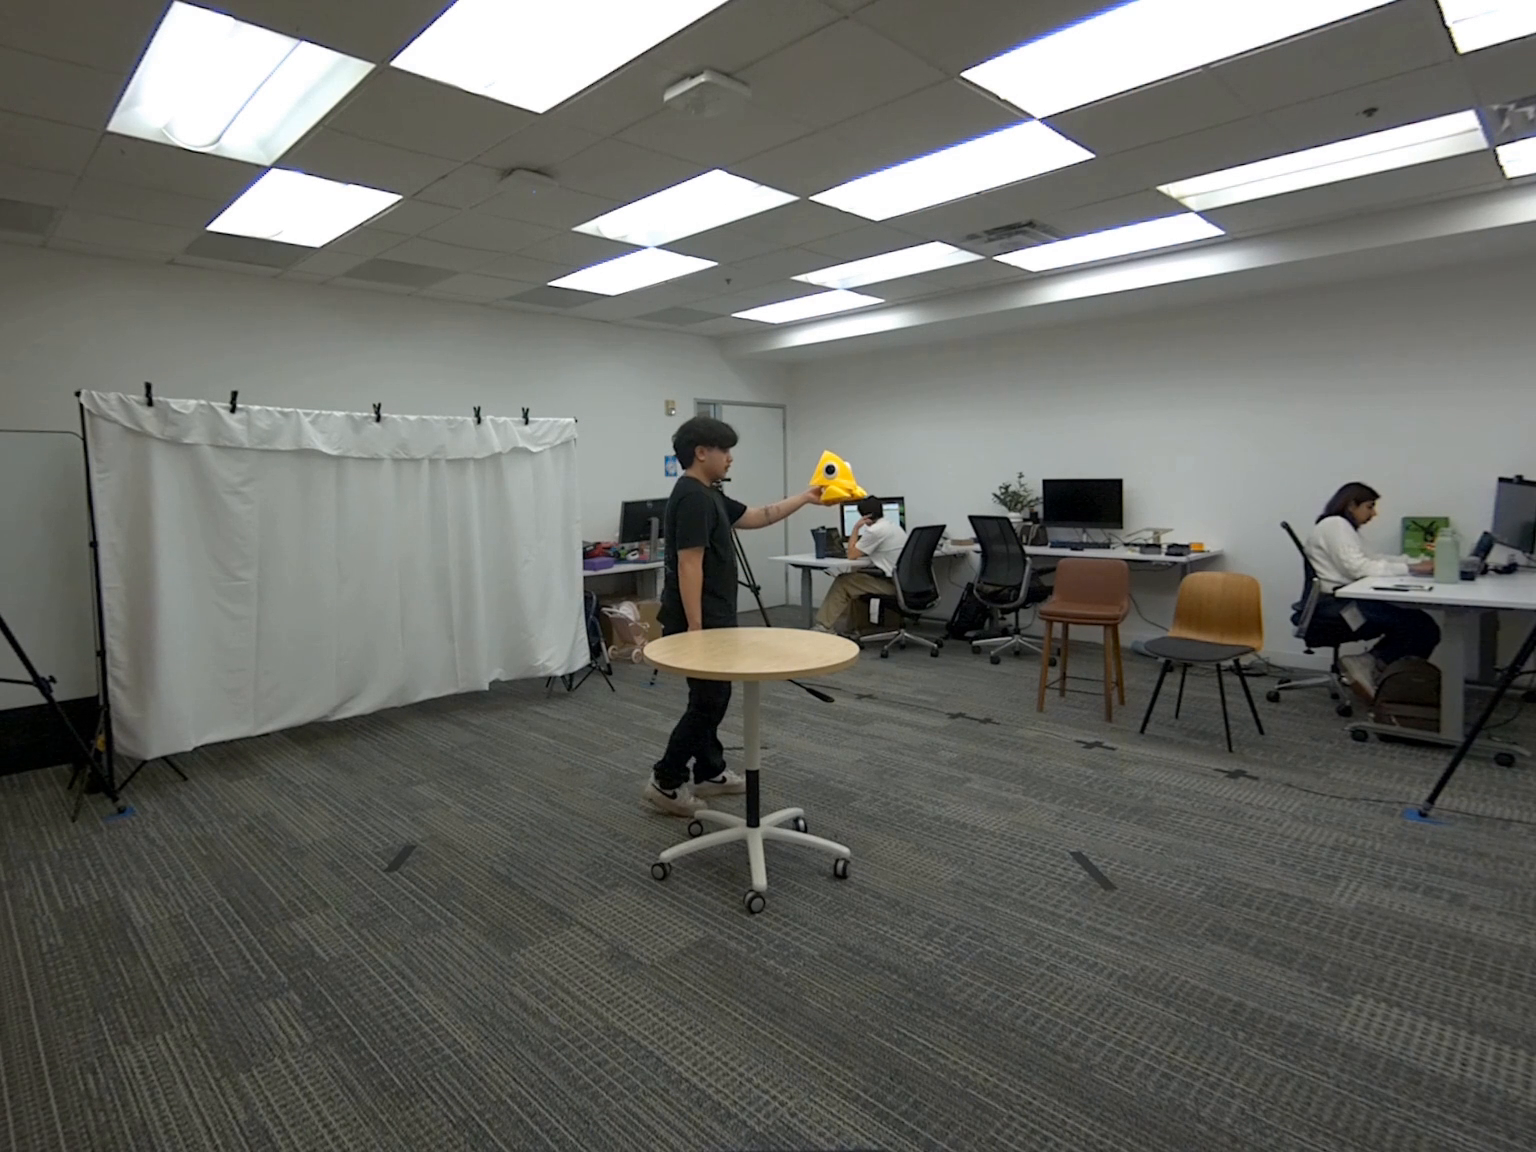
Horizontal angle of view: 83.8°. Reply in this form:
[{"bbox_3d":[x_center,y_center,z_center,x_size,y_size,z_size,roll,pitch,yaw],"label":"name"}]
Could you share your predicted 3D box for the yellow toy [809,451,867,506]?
[{"bbox_3d":[0.304,-0.452,3.773,0.199,0.232,0.197,-4,-4,-41],"label":"yellow toy"}]
